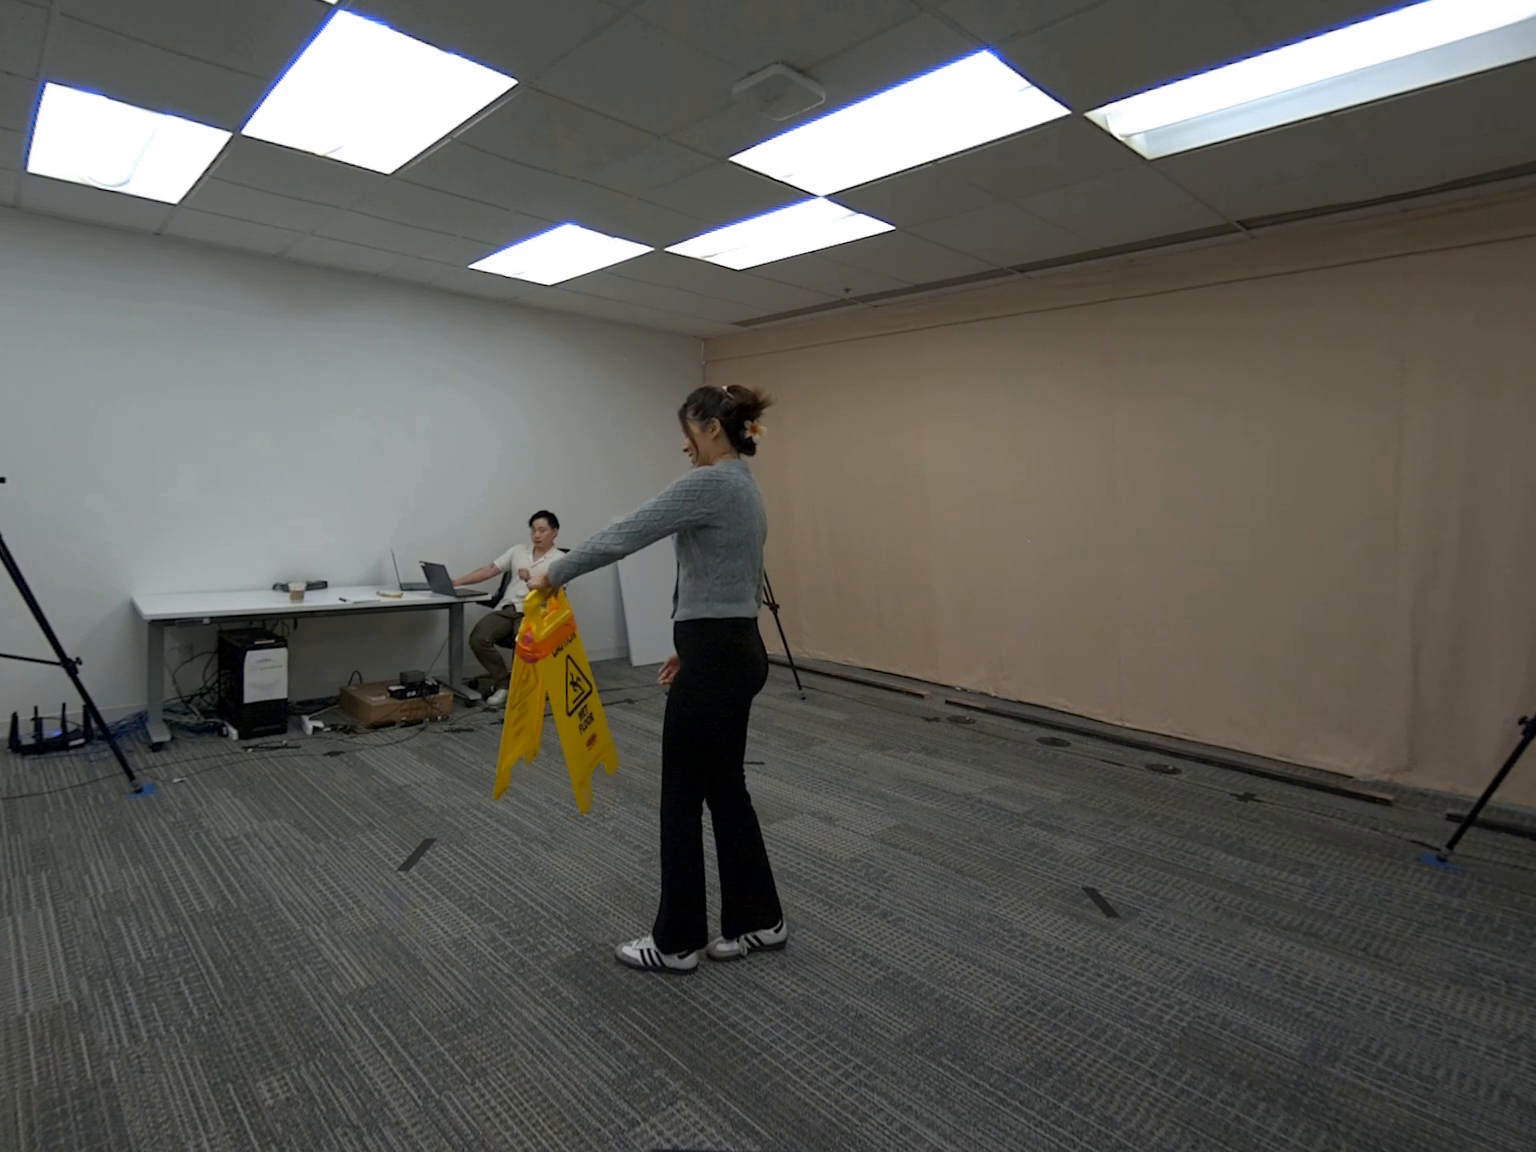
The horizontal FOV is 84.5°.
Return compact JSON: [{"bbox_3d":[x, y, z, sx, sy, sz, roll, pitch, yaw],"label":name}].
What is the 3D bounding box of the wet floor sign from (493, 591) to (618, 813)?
[{"bbox_3d":[-0.645,0.332,2.484,0.293,0.638,0.282,4,17,12],"label":"wet floor sign"}]
